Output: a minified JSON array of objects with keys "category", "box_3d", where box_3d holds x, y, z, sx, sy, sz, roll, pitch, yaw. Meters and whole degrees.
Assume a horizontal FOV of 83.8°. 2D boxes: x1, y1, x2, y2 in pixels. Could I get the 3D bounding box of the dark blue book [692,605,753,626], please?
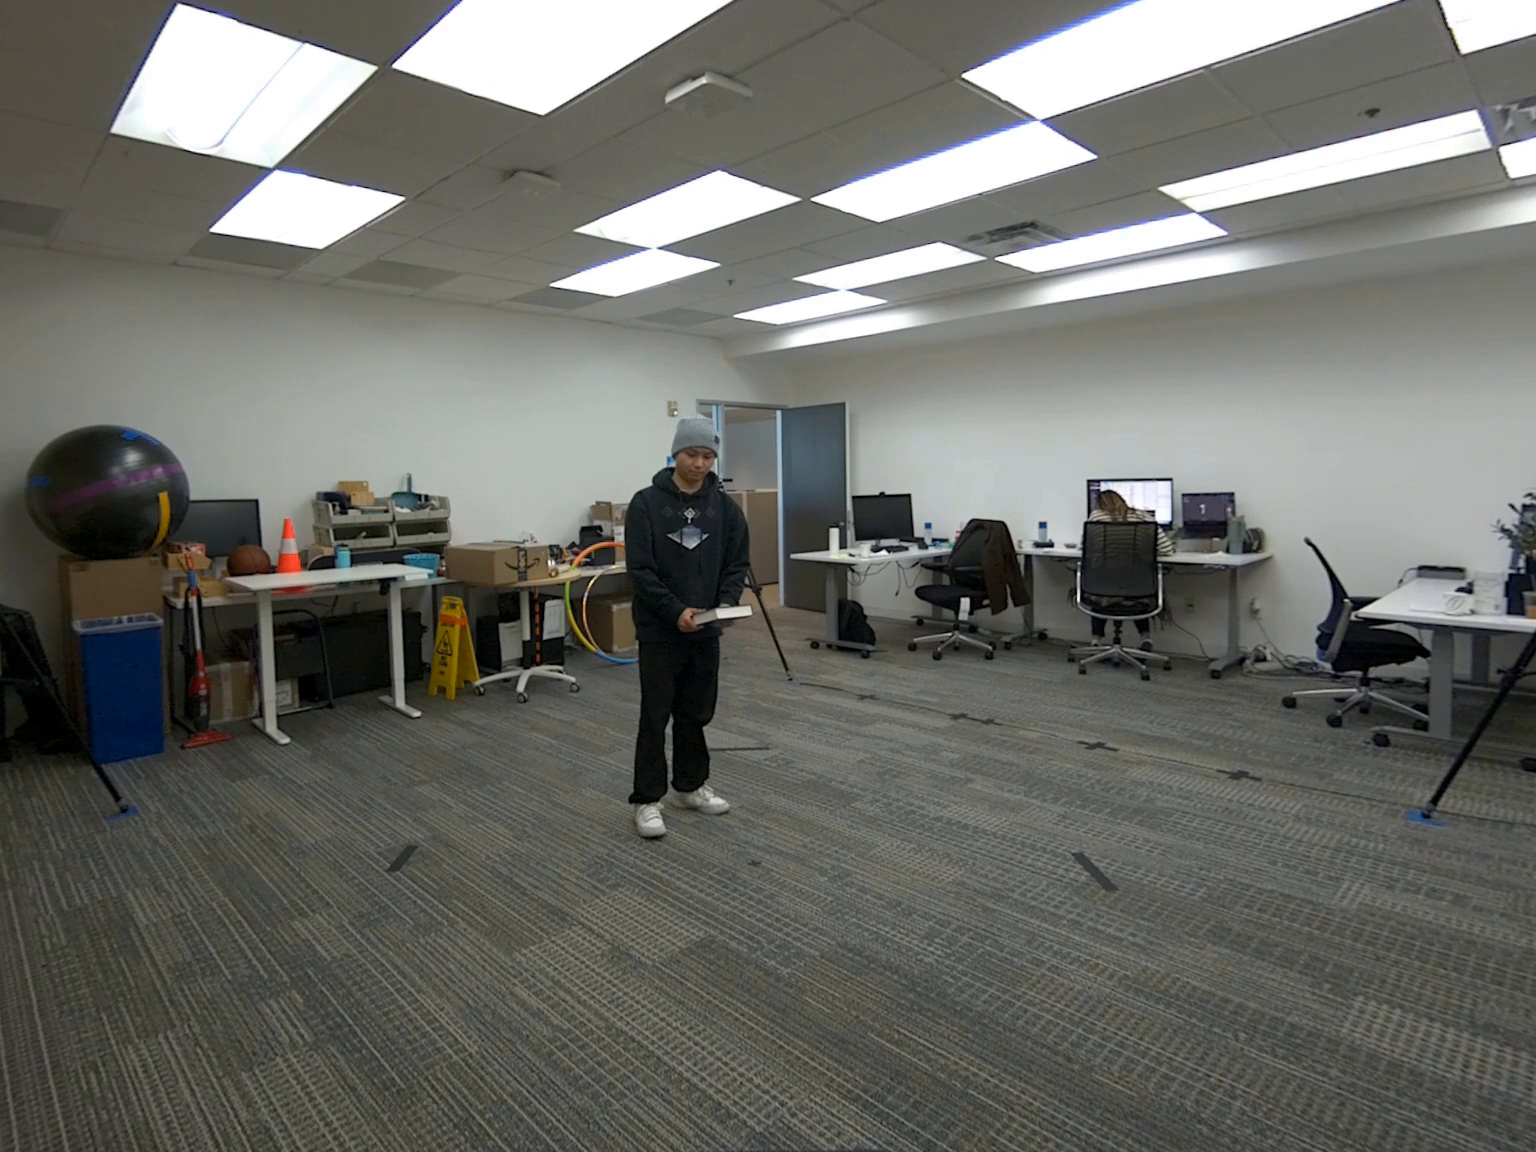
[{"category":"dark blue book","box_3d":[-0.191,0.160,3.296,0.159,0.045,0.249,-5,-7,-33]}]
